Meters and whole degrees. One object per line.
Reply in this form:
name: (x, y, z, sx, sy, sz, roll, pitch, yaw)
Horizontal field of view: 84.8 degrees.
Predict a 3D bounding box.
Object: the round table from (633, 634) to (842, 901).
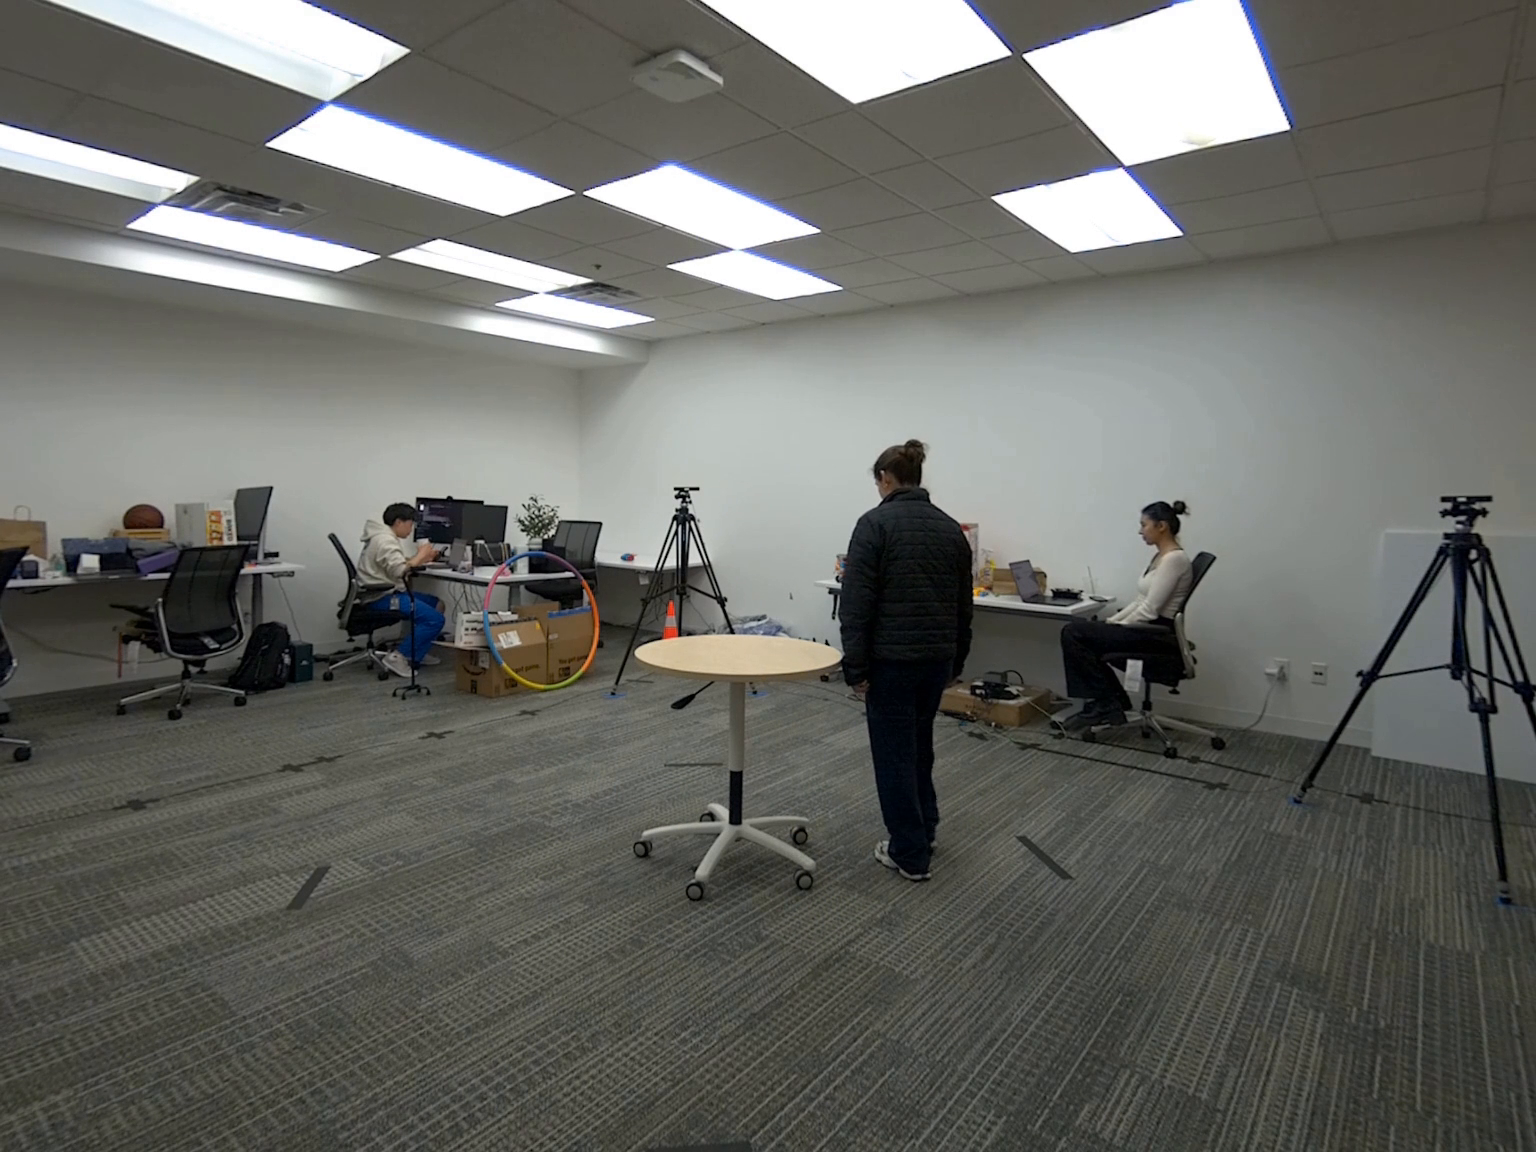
round table: (-0.104, 0.669, 3.168, 0.784, 0.784, 0.789, 1, 4, -2)
